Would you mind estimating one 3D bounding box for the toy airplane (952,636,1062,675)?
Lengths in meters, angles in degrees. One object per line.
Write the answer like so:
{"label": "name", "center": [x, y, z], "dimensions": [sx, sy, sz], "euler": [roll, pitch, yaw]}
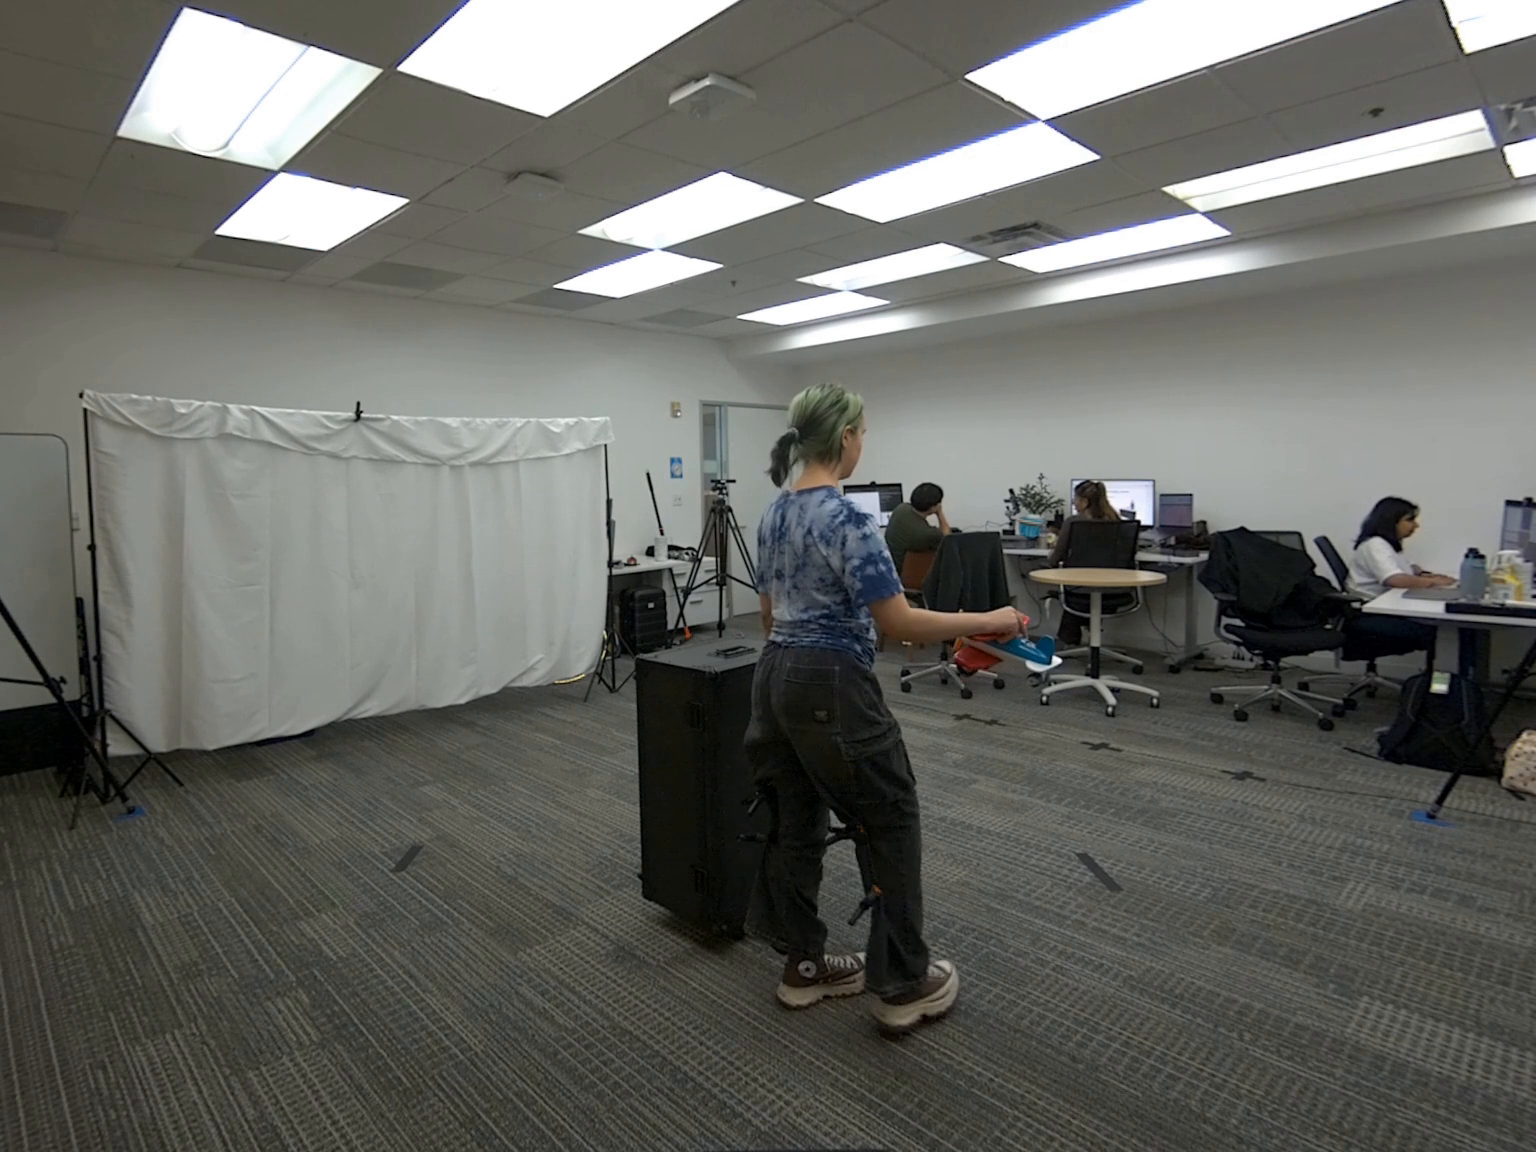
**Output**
{"label": "toy airplane", "center": [0.621, 0.184, 2.204], "dimensions": [0.264, 0.155, 0.248], "euler": [0, 10, 20]}
